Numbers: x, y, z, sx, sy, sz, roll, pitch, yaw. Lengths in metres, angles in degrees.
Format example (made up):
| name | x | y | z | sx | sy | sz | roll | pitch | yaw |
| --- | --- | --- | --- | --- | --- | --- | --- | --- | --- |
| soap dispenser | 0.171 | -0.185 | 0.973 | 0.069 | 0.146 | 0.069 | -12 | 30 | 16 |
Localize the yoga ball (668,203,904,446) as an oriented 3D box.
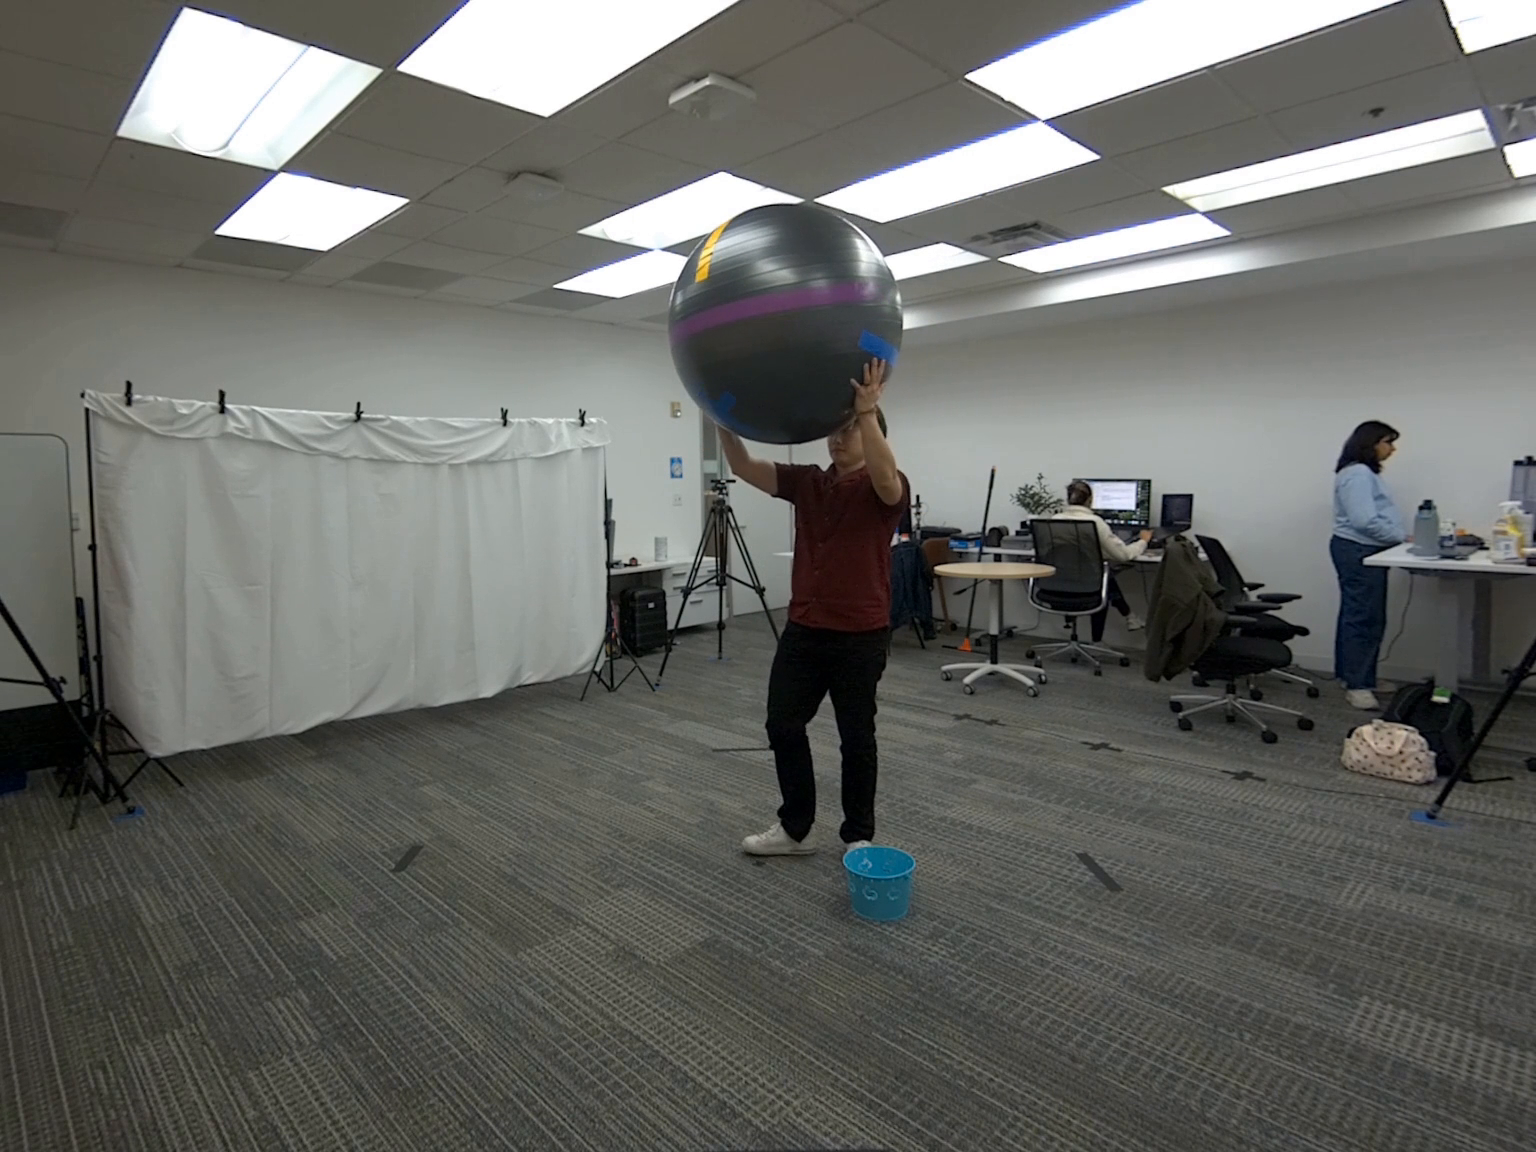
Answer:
| name | x | y | z | sx | sy | sz | roll | pitch | yaw |
| --- | --- | --- | --- | --- | --- | --- | --- | --- | --- |
| yoga ball | 0.056 | -0.808 | 2.780 | 0.757 | 0.755 | 0.762 | -1 | 5 | -2 |
